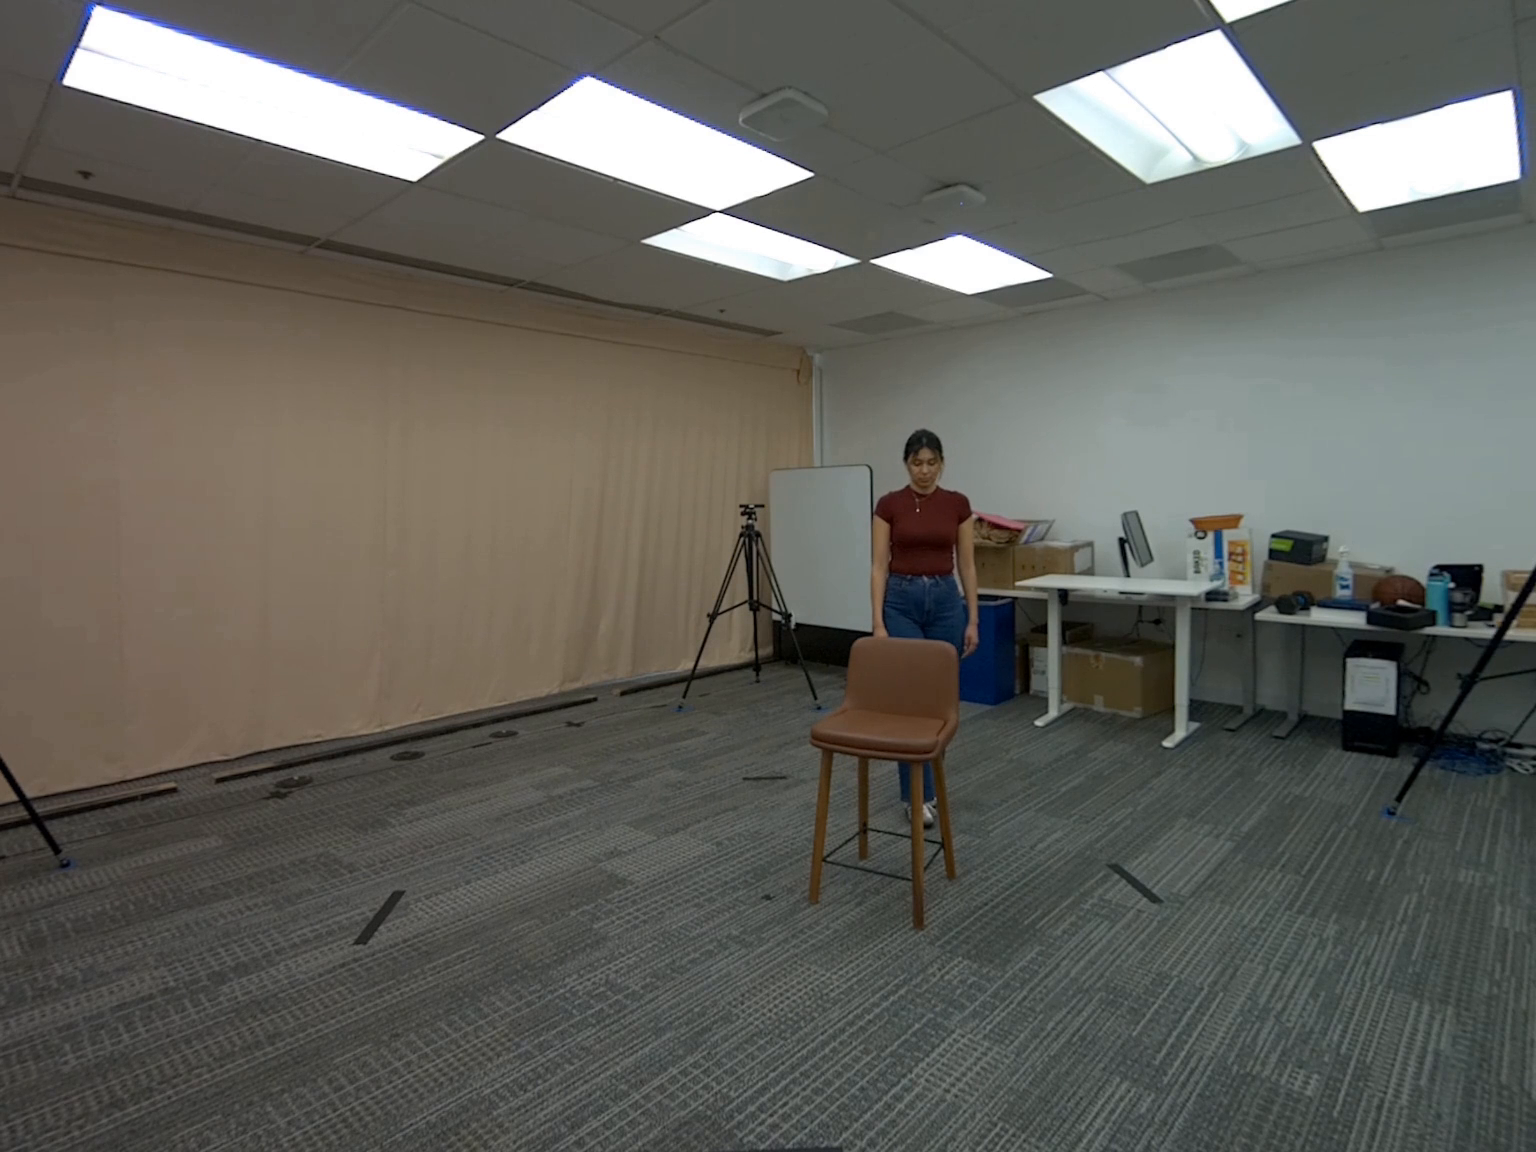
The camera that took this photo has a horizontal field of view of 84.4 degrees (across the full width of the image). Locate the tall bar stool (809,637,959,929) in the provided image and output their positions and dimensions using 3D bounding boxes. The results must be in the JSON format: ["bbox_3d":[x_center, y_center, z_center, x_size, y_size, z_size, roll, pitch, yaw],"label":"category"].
[{"bbox_3d":[0.428,0.691,3.007,0.470,0.889,0.454,2,2,31],"label":"tall bar stool"}]
